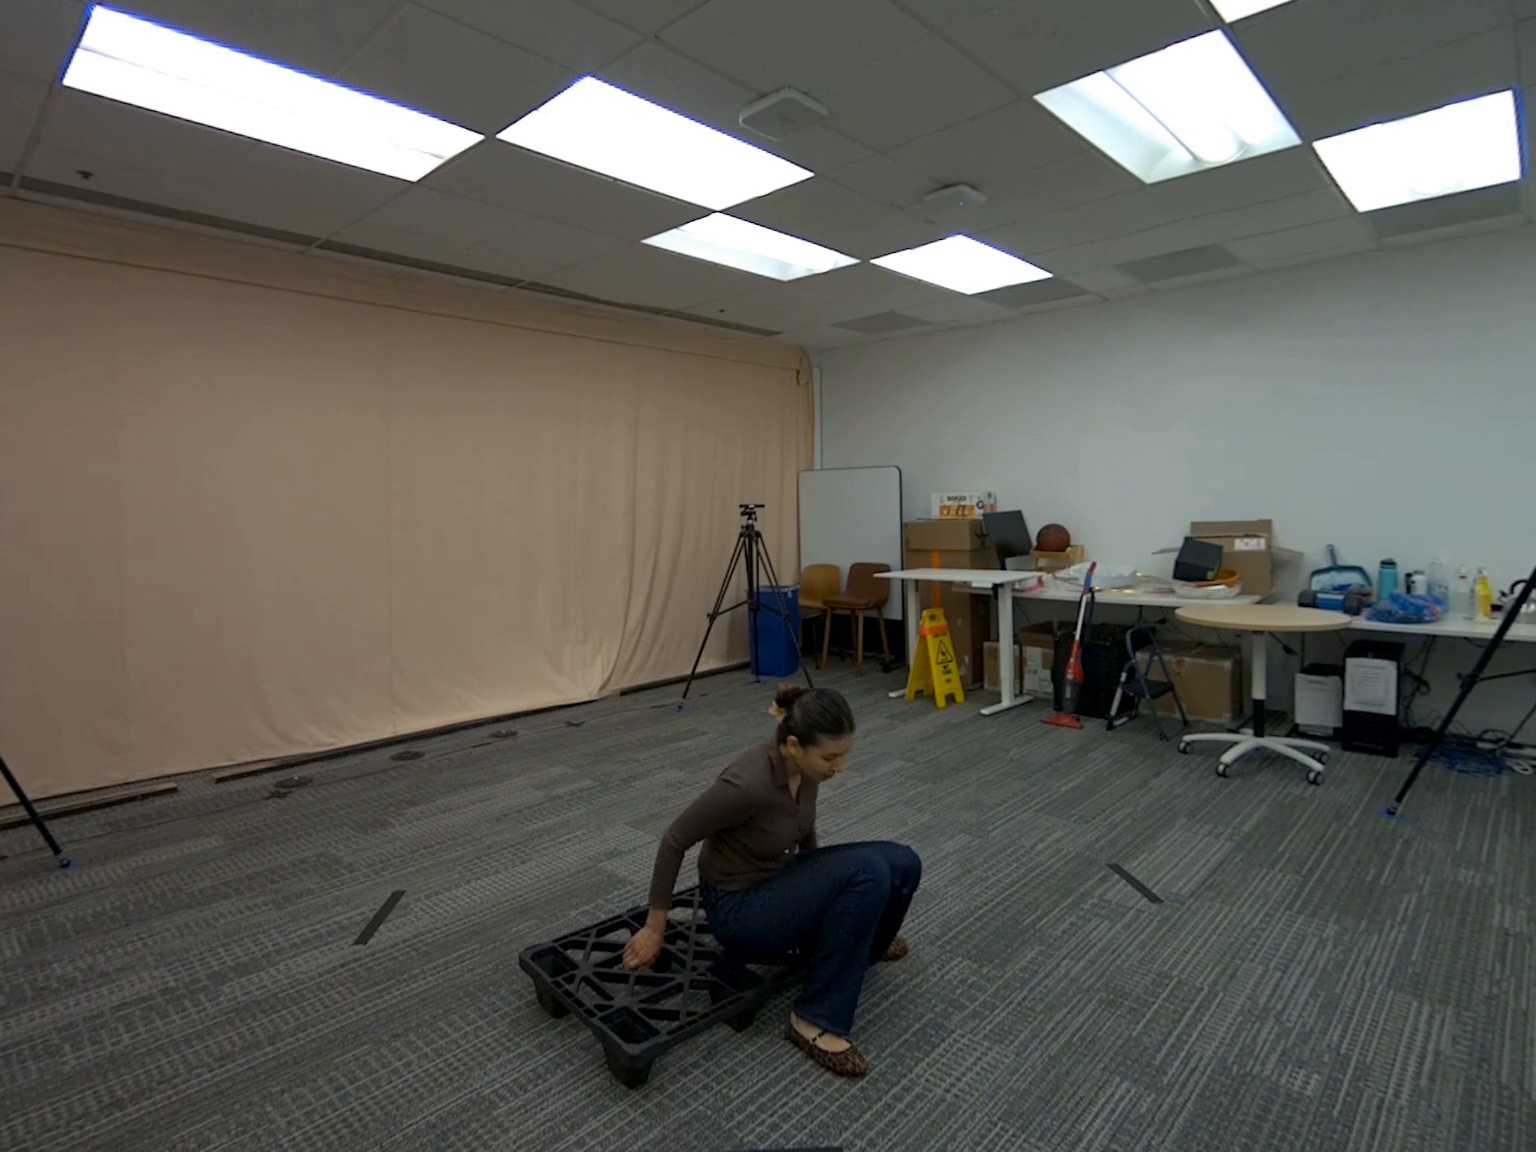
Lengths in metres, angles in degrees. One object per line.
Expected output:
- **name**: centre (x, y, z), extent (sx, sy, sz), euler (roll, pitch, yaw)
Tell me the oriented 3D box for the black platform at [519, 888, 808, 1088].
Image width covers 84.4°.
- **black platform**: centre (-0.225, 1.133, 2.419), extent (0.781, 0.143, 0.625), euler (-4, 6, -40)
